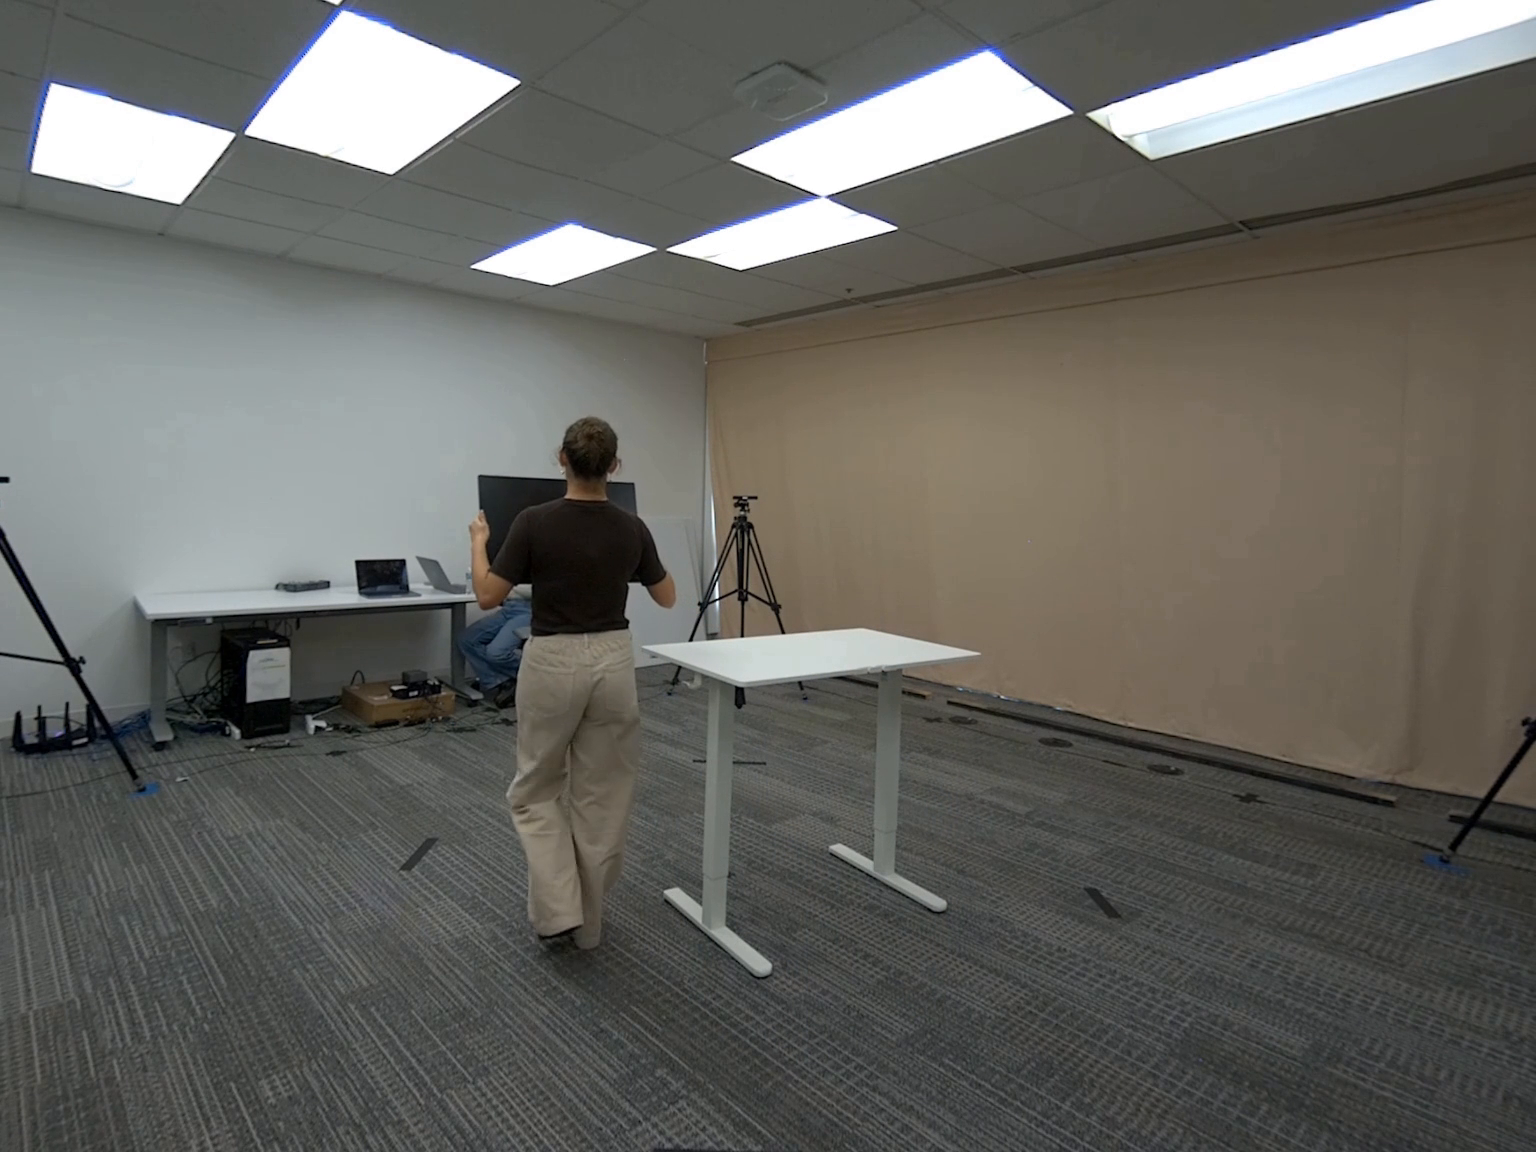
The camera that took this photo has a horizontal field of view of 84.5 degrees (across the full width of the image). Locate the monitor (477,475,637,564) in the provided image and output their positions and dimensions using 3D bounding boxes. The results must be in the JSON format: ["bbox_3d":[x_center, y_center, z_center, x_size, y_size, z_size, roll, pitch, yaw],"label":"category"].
[{"bbox_3d":[-0.696,-0.057,2.781,0.527,0.522,0.191,1,1,-33],"label":"monitor"}]
